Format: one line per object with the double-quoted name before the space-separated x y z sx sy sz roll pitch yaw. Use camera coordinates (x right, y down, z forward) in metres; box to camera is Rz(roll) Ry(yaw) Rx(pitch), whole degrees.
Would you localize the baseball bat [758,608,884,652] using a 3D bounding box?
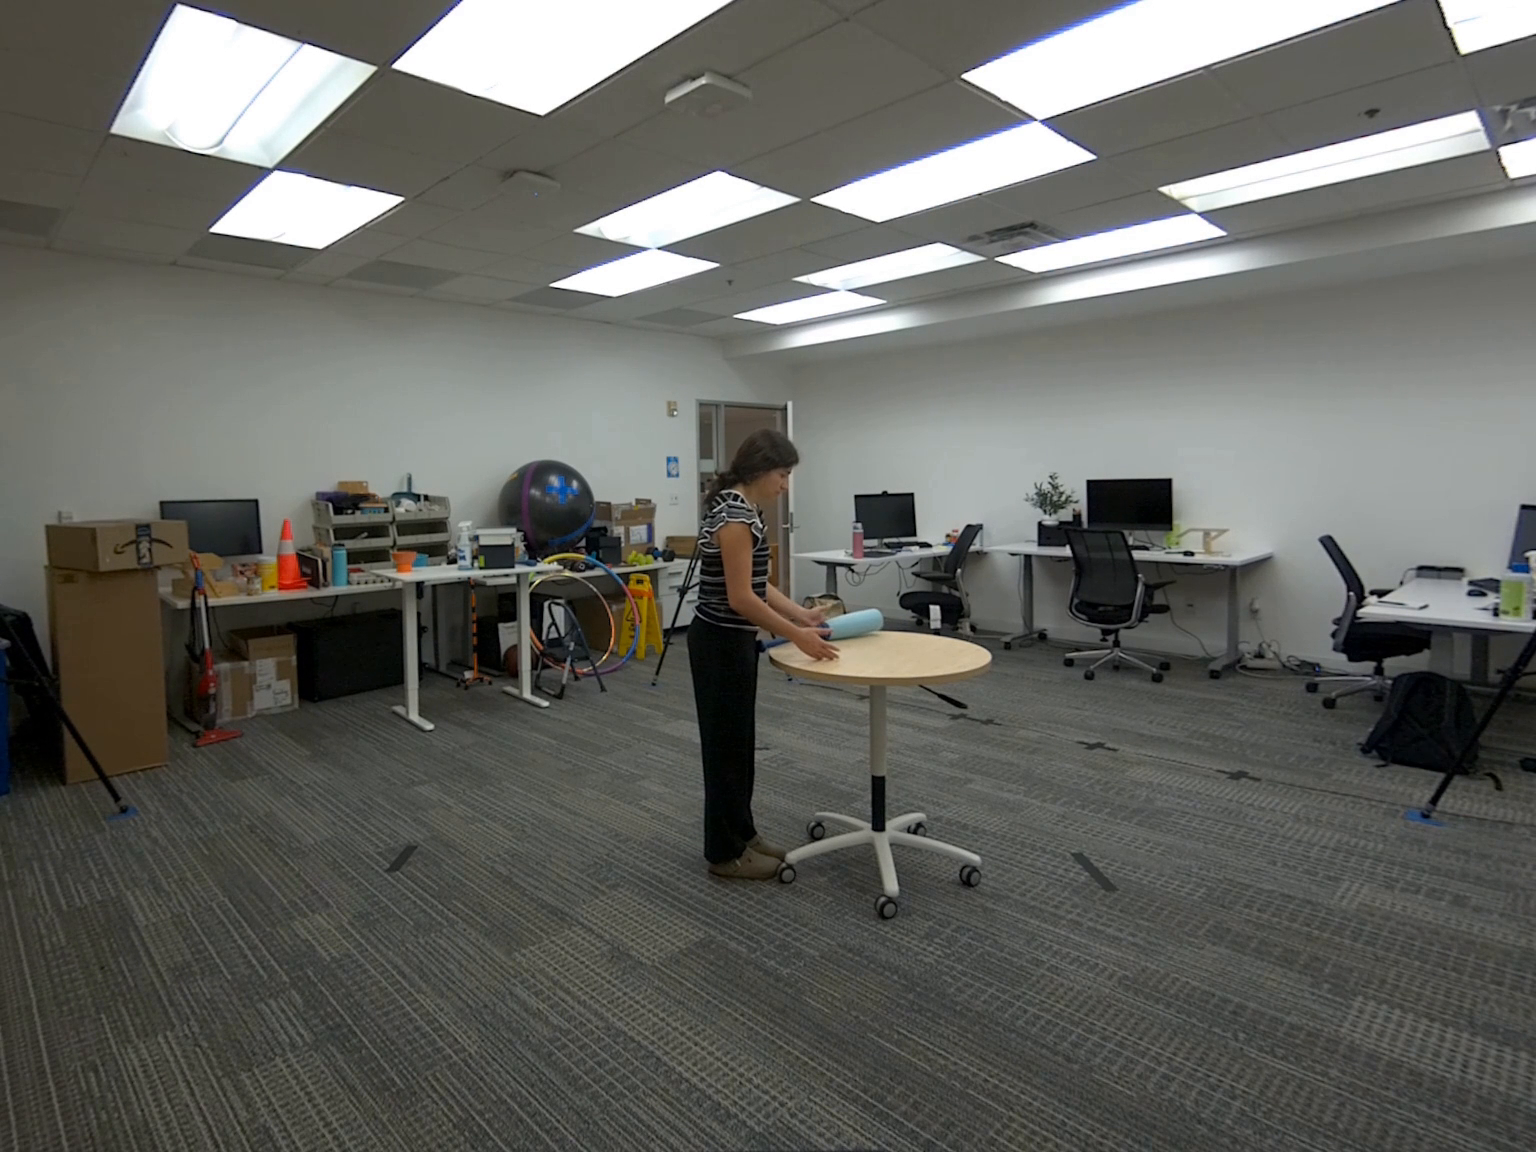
"baseball bat" 0.192 0.210 3.186 0.533 0.088 0.091 -10 8 -25
